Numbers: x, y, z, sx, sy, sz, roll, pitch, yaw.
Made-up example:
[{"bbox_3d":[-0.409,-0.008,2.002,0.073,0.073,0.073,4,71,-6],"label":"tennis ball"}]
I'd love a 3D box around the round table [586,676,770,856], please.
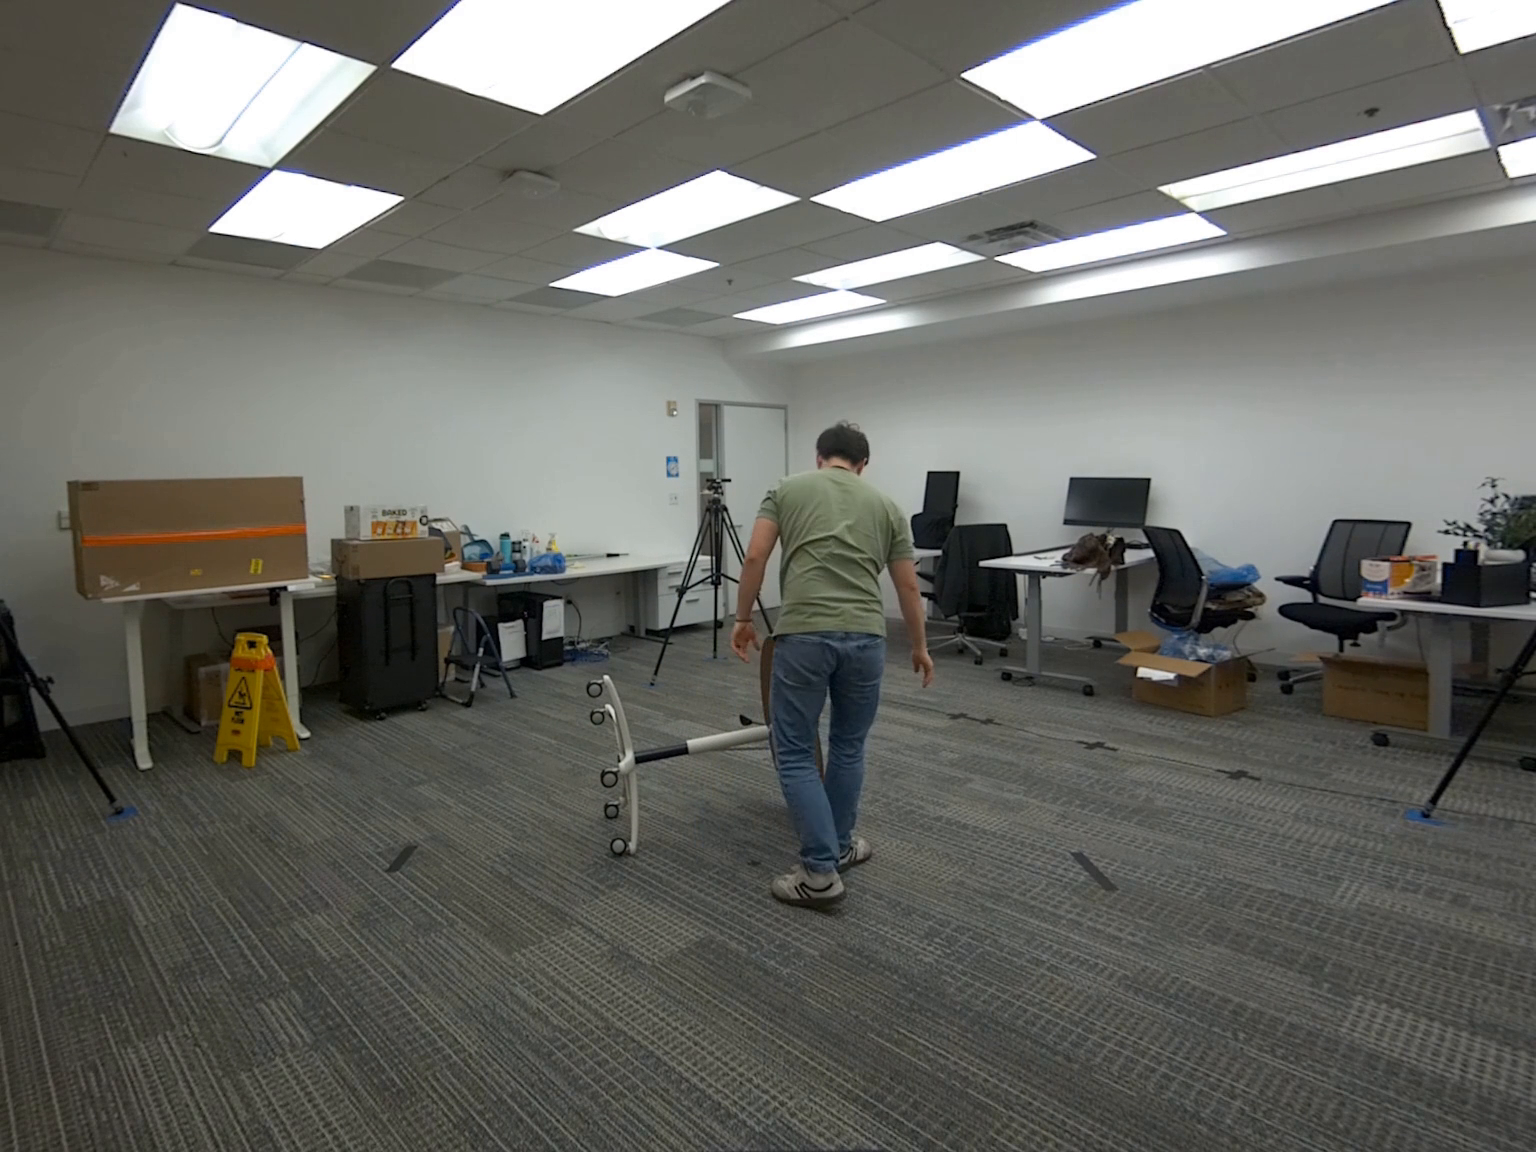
[{"bbox_3d":[-0.281,0.679,3.406,0.786,0.760,0.776,-8,6,-13],"label":"round table"}]
